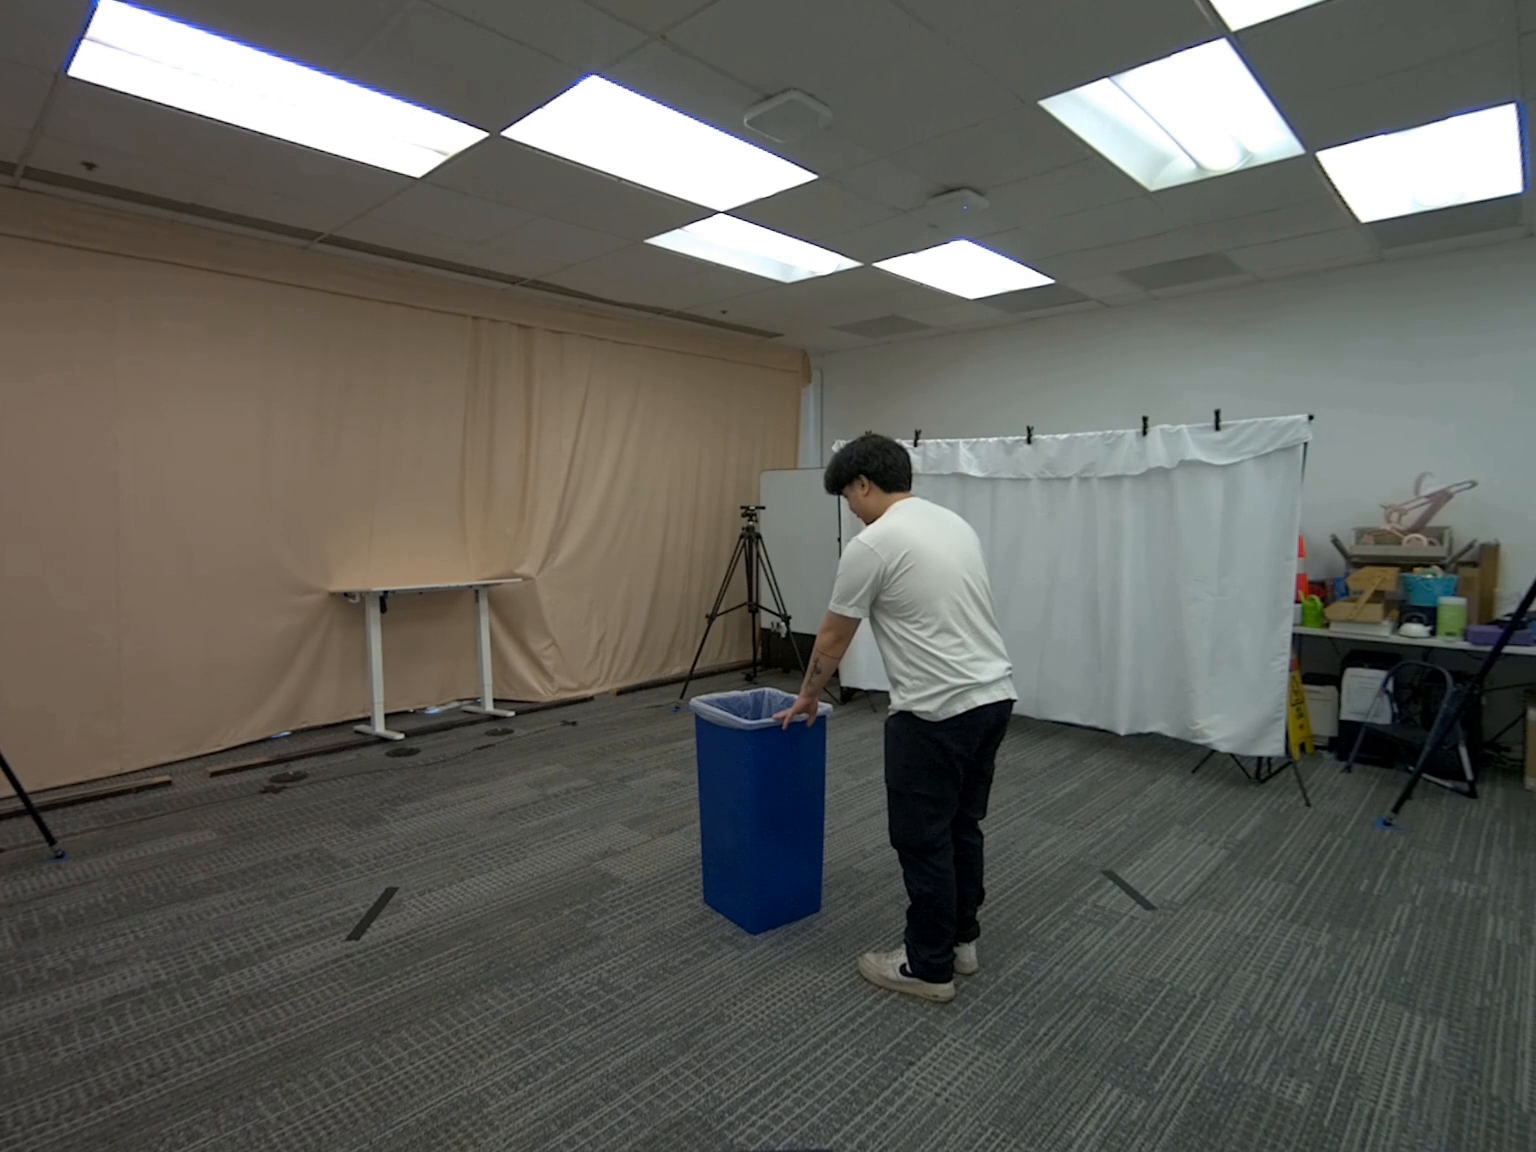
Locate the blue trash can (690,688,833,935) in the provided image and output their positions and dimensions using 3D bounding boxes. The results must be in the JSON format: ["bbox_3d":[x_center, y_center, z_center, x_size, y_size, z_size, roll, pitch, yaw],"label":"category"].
[{"bbox_3d":[-0.027,0.791,2.906,0.363,0.712,0.390,-2,4,-37],"label":"blue trash can"}]
